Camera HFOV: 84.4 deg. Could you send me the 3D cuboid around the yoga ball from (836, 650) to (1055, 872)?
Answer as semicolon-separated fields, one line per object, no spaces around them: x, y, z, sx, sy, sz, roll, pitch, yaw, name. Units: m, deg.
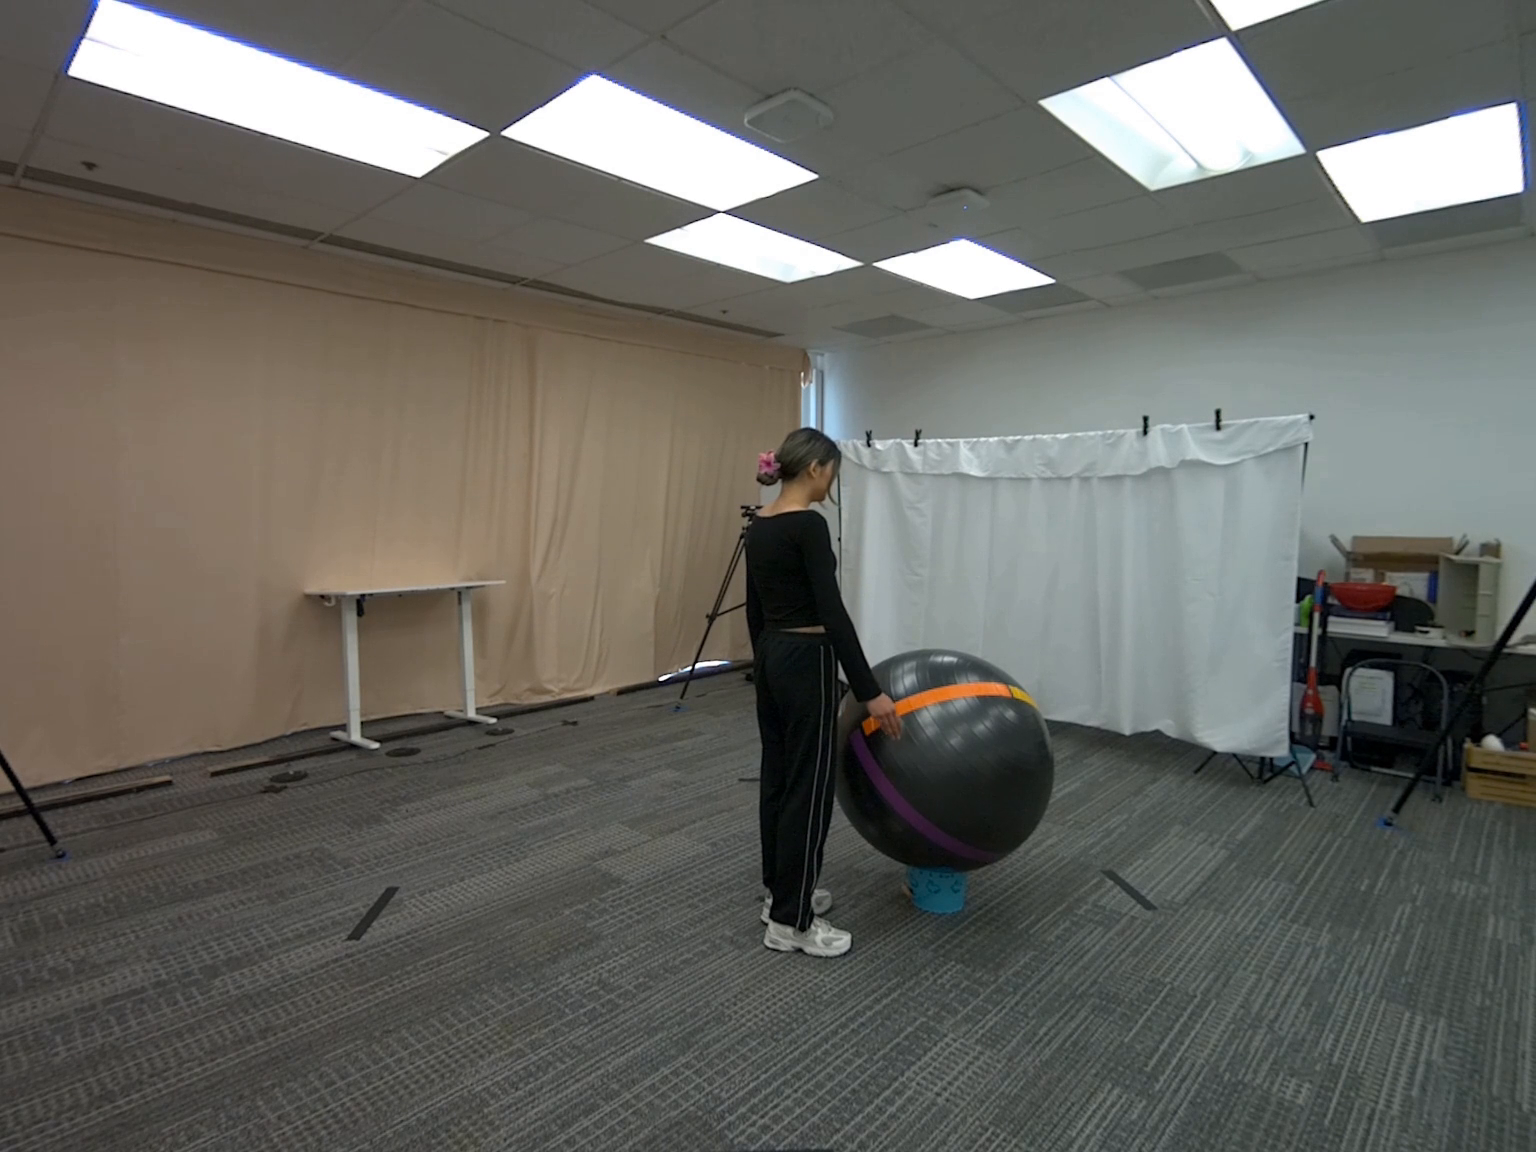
0.603;0.637;2.938;0.757;0.756;0.760;0;4;-2;yoga ball
